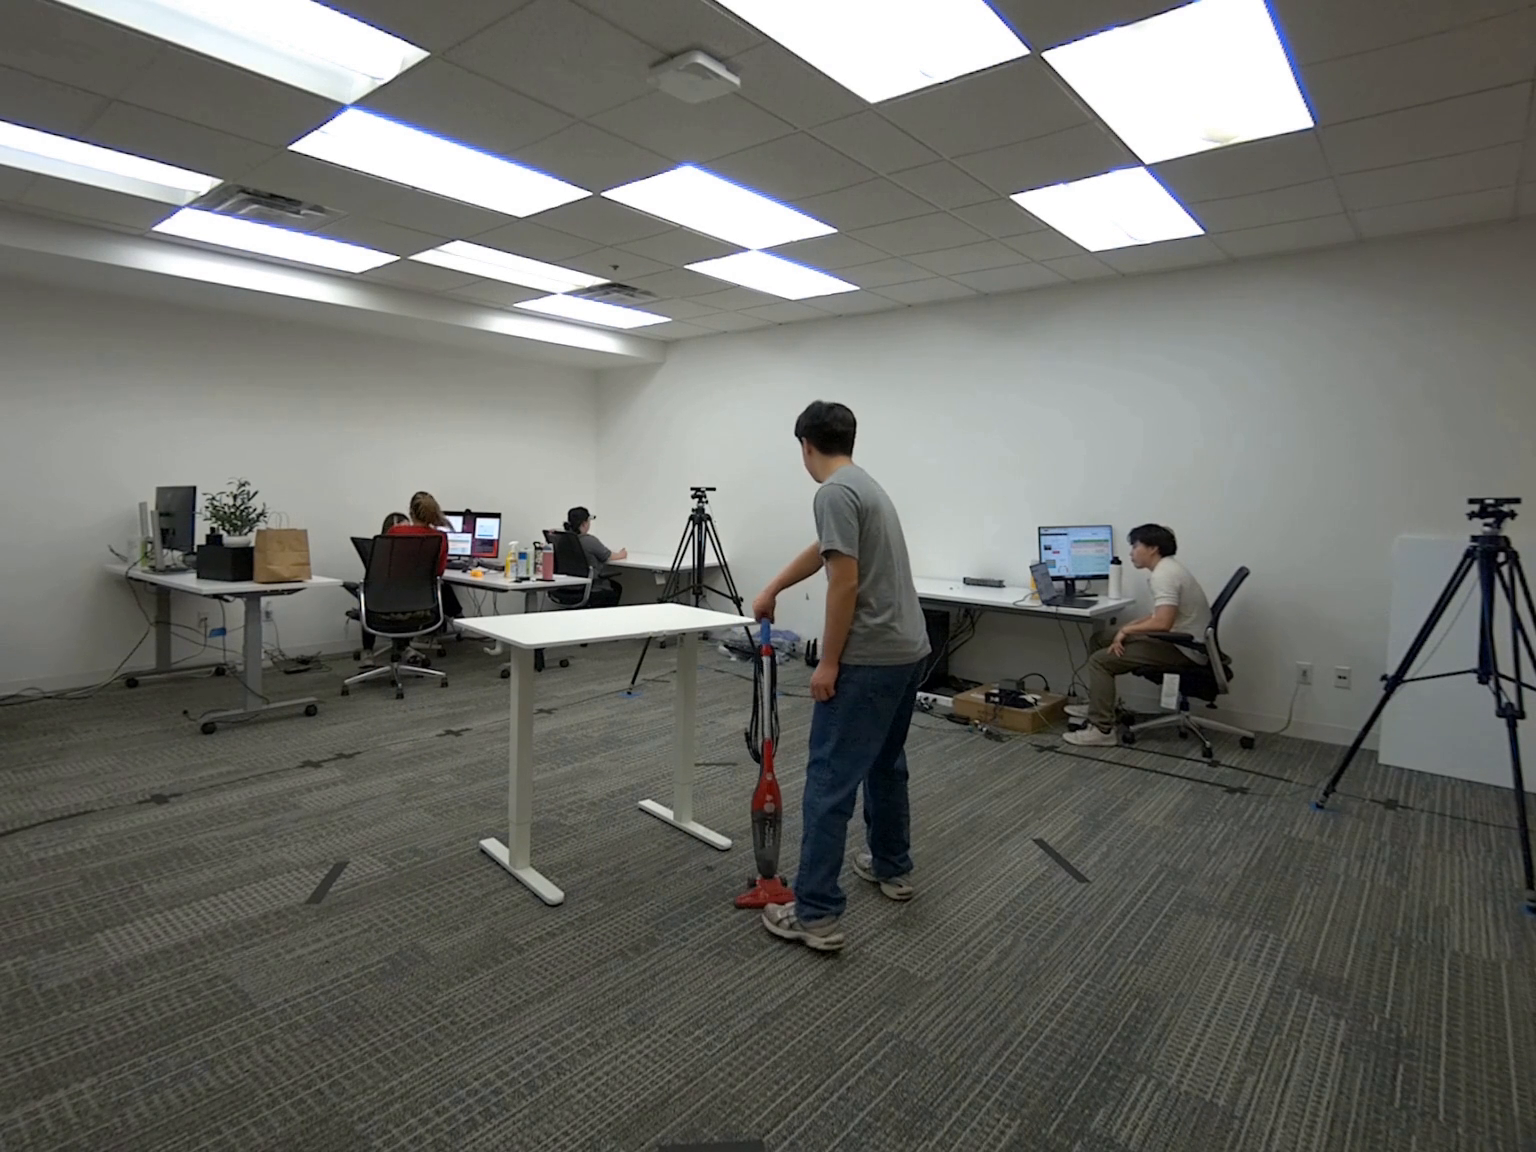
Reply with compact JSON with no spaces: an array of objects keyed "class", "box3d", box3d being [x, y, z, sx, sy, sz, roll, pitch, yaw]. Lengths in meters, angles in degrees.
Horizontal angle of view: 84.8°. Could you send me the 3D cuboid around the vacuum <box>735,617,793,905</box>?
[{"class":"vacuum","box3d":[-0.005,0.592,3.077,0.253,1.069,0.141,2,-22,0]}]
